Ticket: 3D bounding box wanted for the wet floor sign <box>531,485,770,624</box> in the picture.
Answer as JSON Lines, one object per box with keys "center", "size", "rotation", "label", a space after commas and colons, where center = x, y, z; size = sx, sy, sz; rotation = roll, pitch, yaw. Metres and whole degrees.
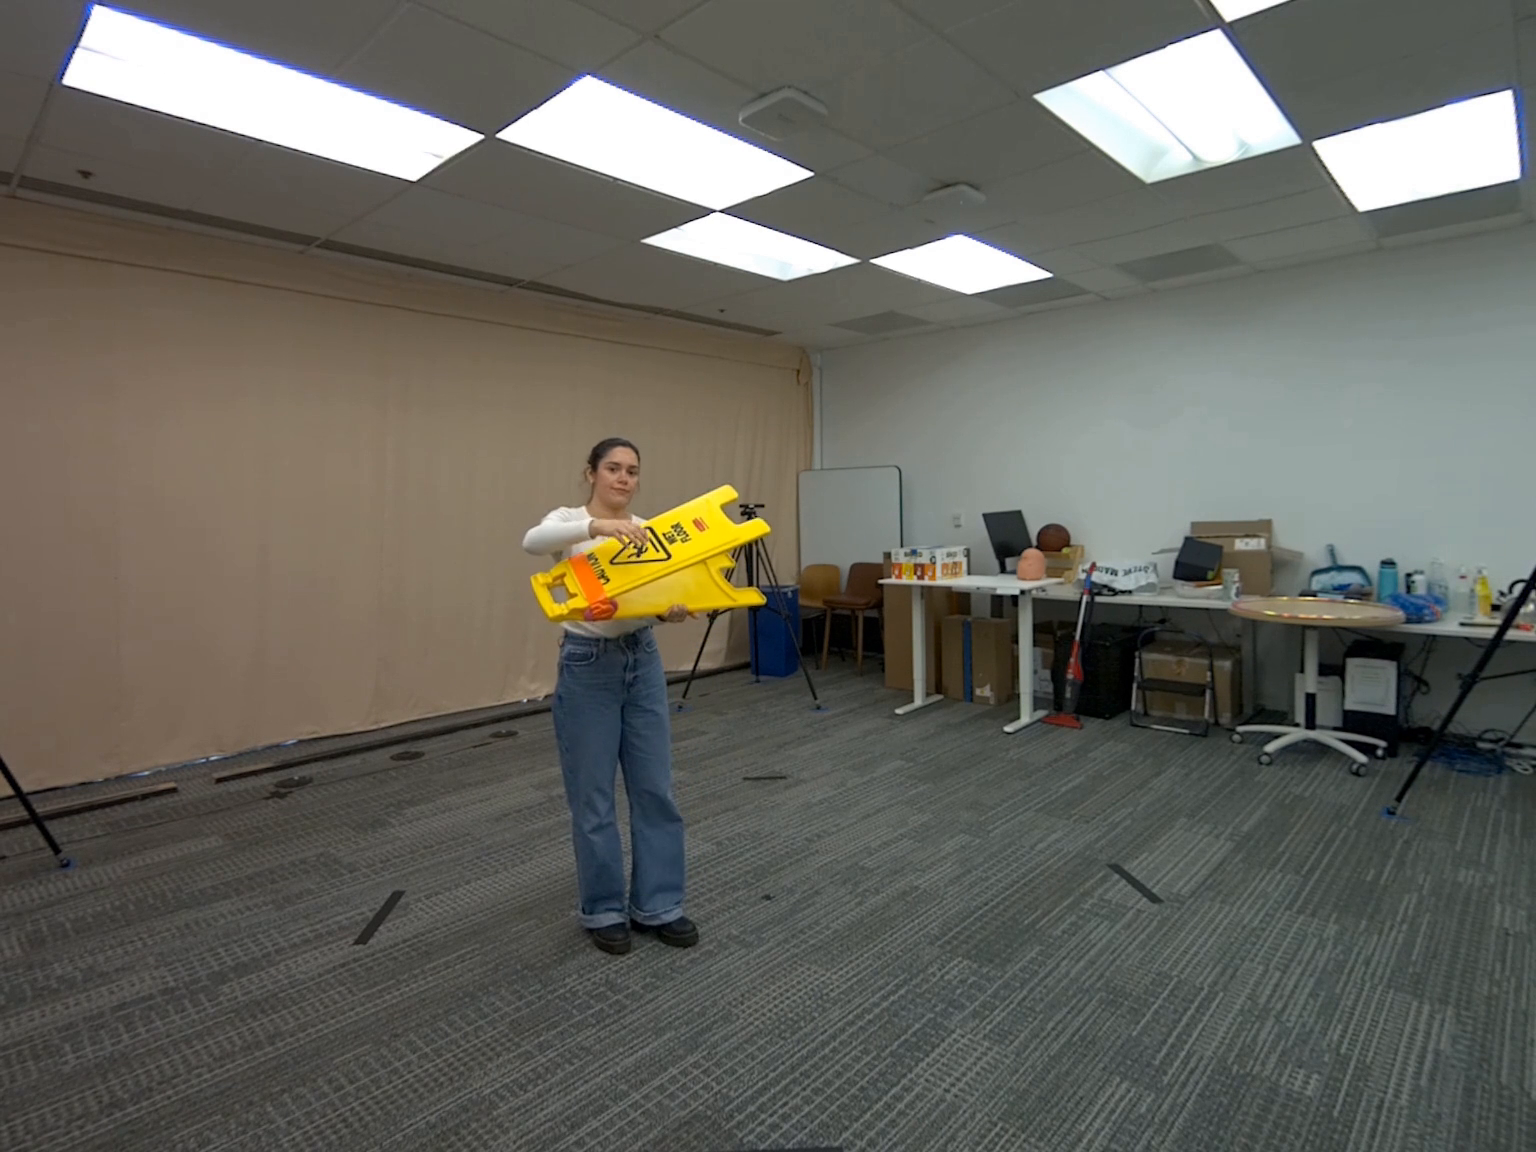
{"center": [-0.336, -0.001, 2.418], "size": [0.635, 0.285, 0.292], "rotation": [-16, 41, -20], "label": "wet floor sign"}
